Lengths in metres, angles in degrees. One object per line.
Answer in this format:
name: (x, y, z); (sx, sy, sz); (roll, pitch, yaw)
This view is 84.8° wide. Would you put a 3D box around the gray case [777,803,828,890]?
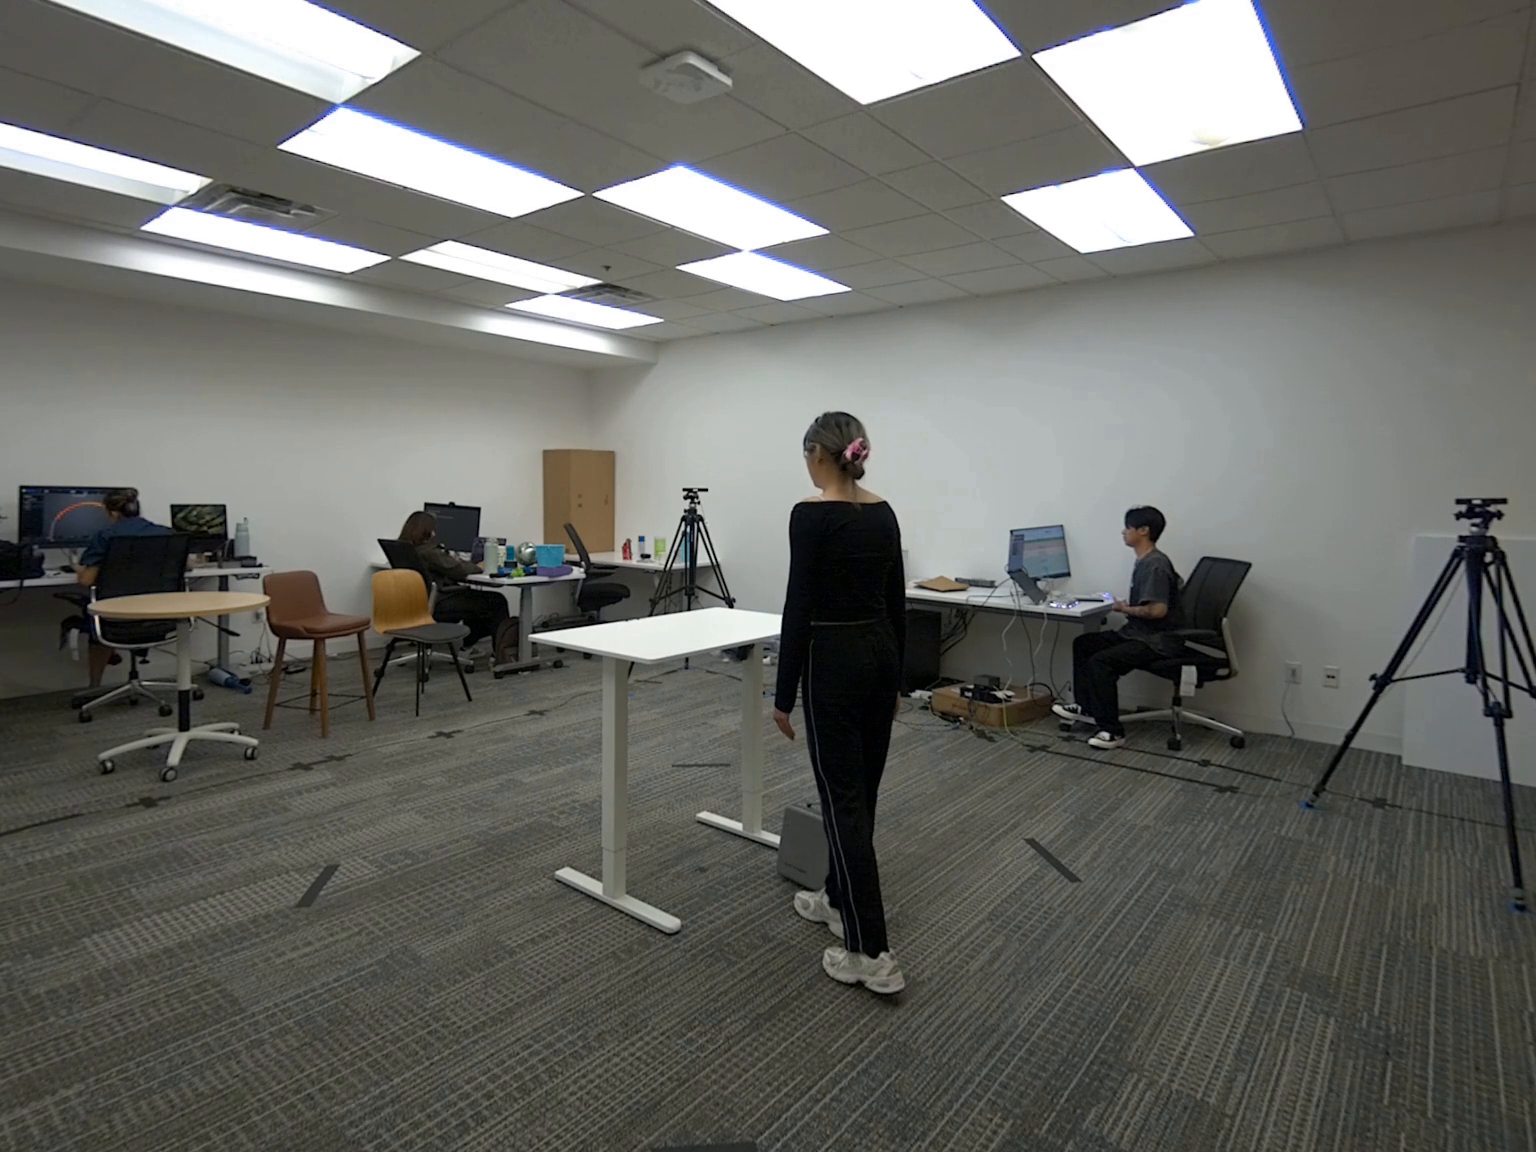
gray case: (0.151, 0.951, 3.009); (0.100, 0.261, 0.265); (11, -4, -40)
